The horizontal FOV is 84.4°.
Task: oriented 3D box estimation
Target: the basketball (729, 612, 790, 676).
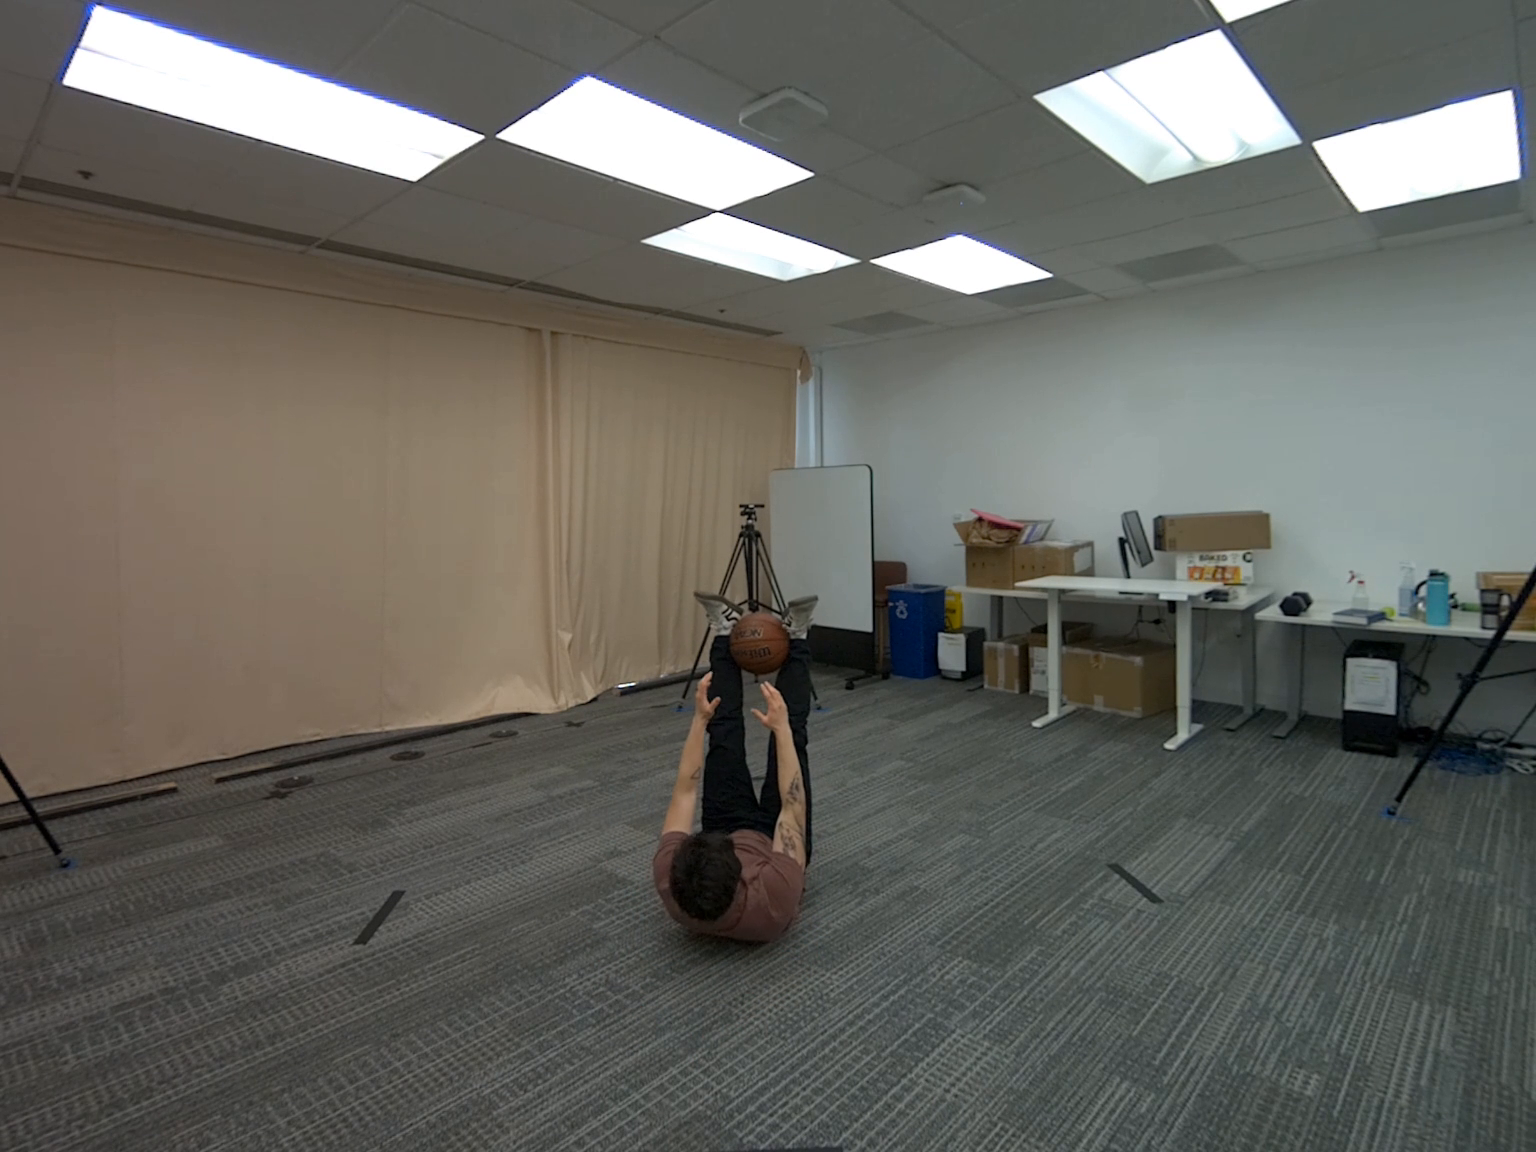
[{"bbox_3d":[-0.024,0.258,3.201,0.235,0.235,0.237,3,5,-2],"label":"basketball"}]
